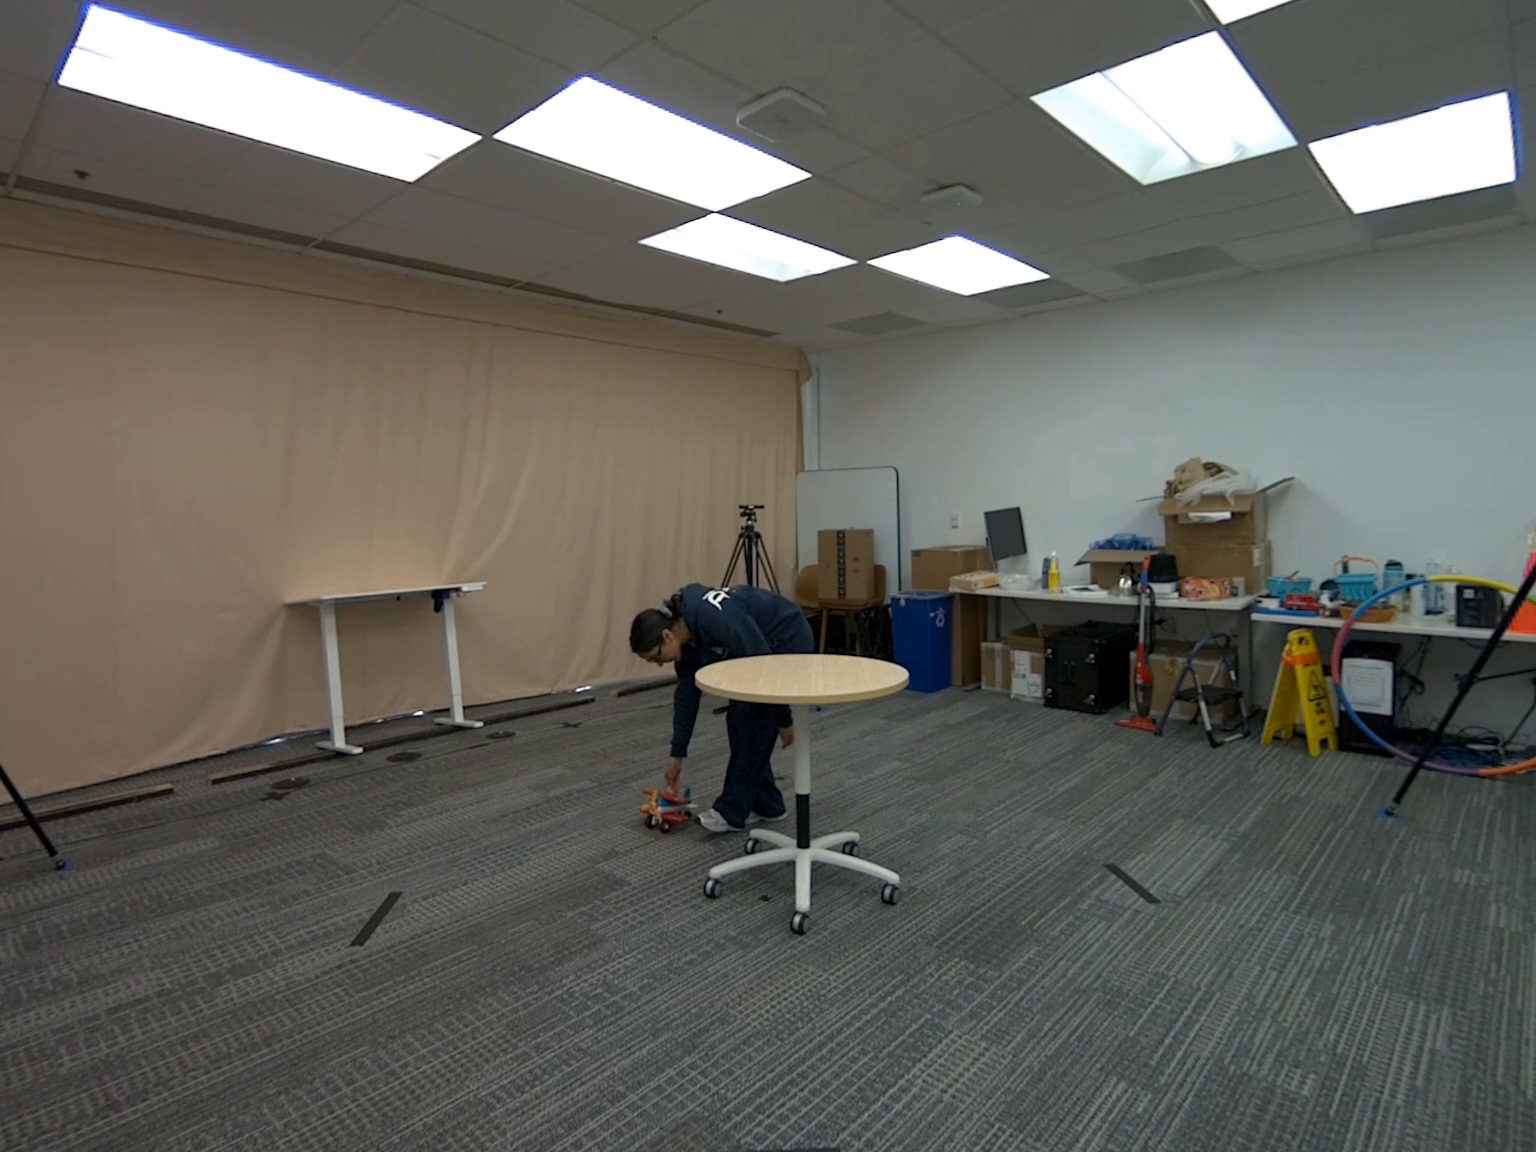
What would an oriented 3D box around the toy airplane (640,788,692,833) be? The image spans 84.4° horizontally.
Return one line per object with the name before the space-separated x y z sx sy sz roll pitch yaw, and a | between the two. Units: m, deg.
toy airplane | -0.443 1.020 3.718 0.254 0.156 0.257 -1 6 9
